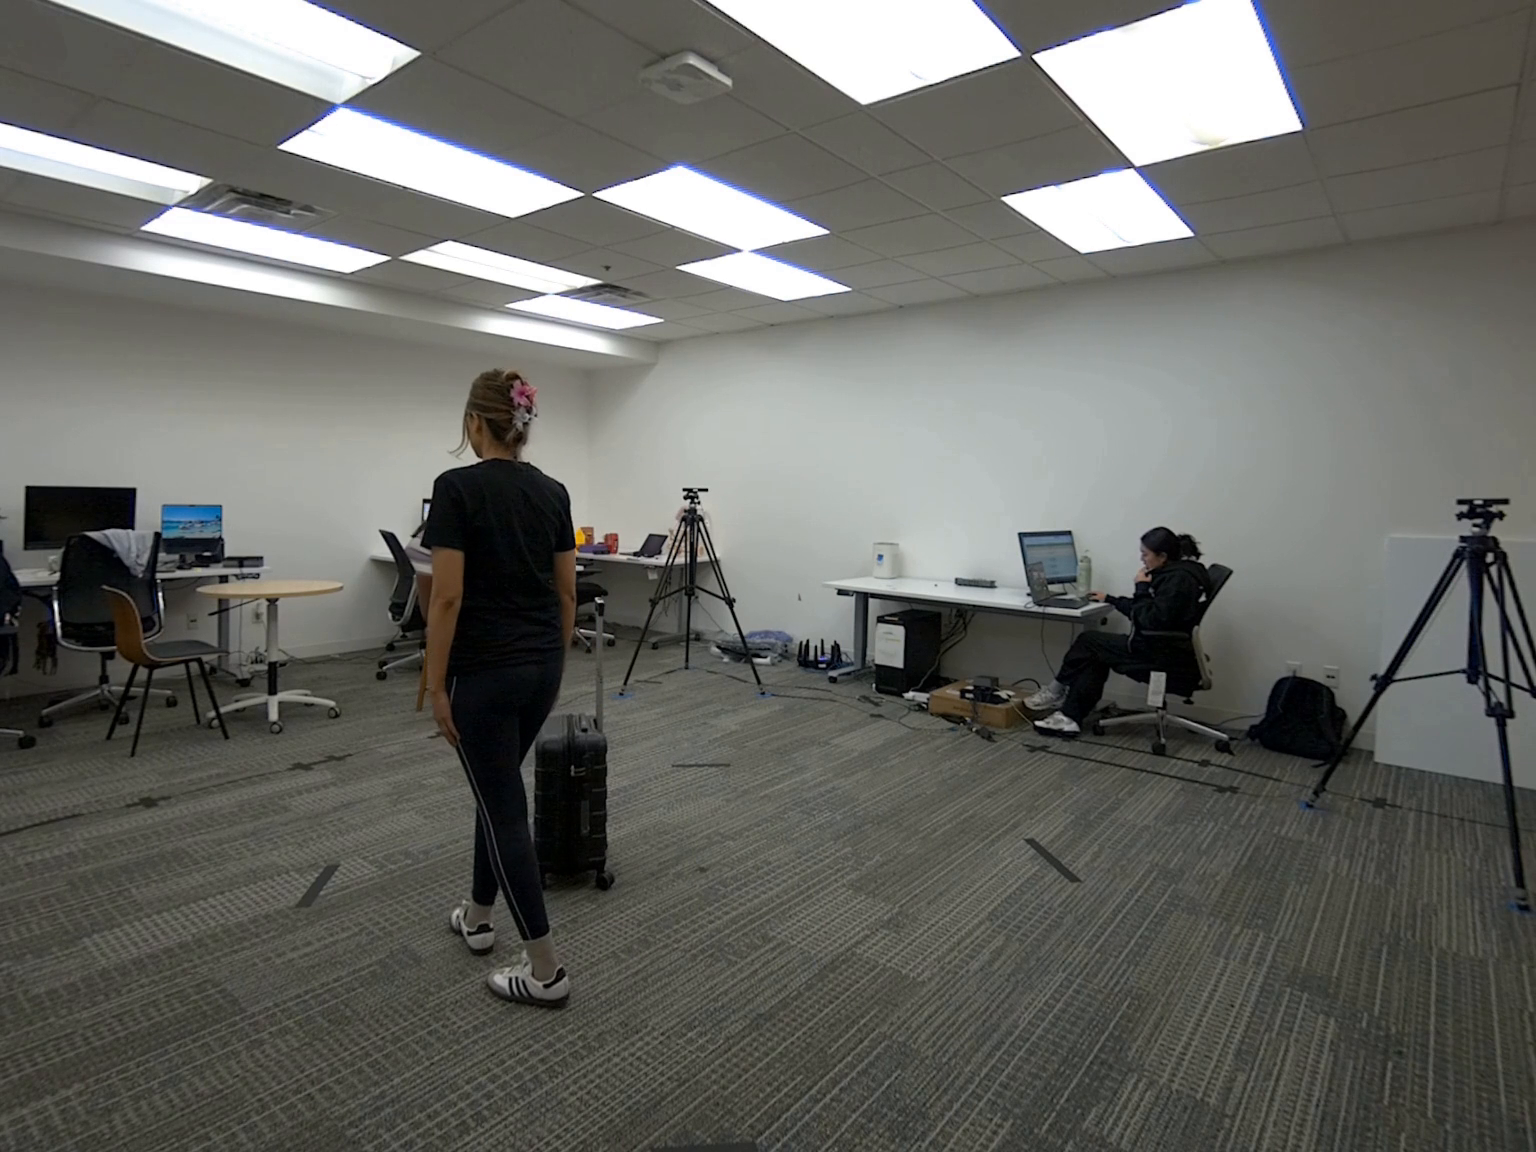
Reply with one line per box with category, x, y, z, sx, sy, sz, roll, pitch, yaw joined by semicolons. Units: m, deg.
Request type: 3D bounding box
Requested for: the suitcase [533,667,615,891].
suitcase;-0.724;0.590;3.060;0.254;0.977;0.389;-2;2;-12
